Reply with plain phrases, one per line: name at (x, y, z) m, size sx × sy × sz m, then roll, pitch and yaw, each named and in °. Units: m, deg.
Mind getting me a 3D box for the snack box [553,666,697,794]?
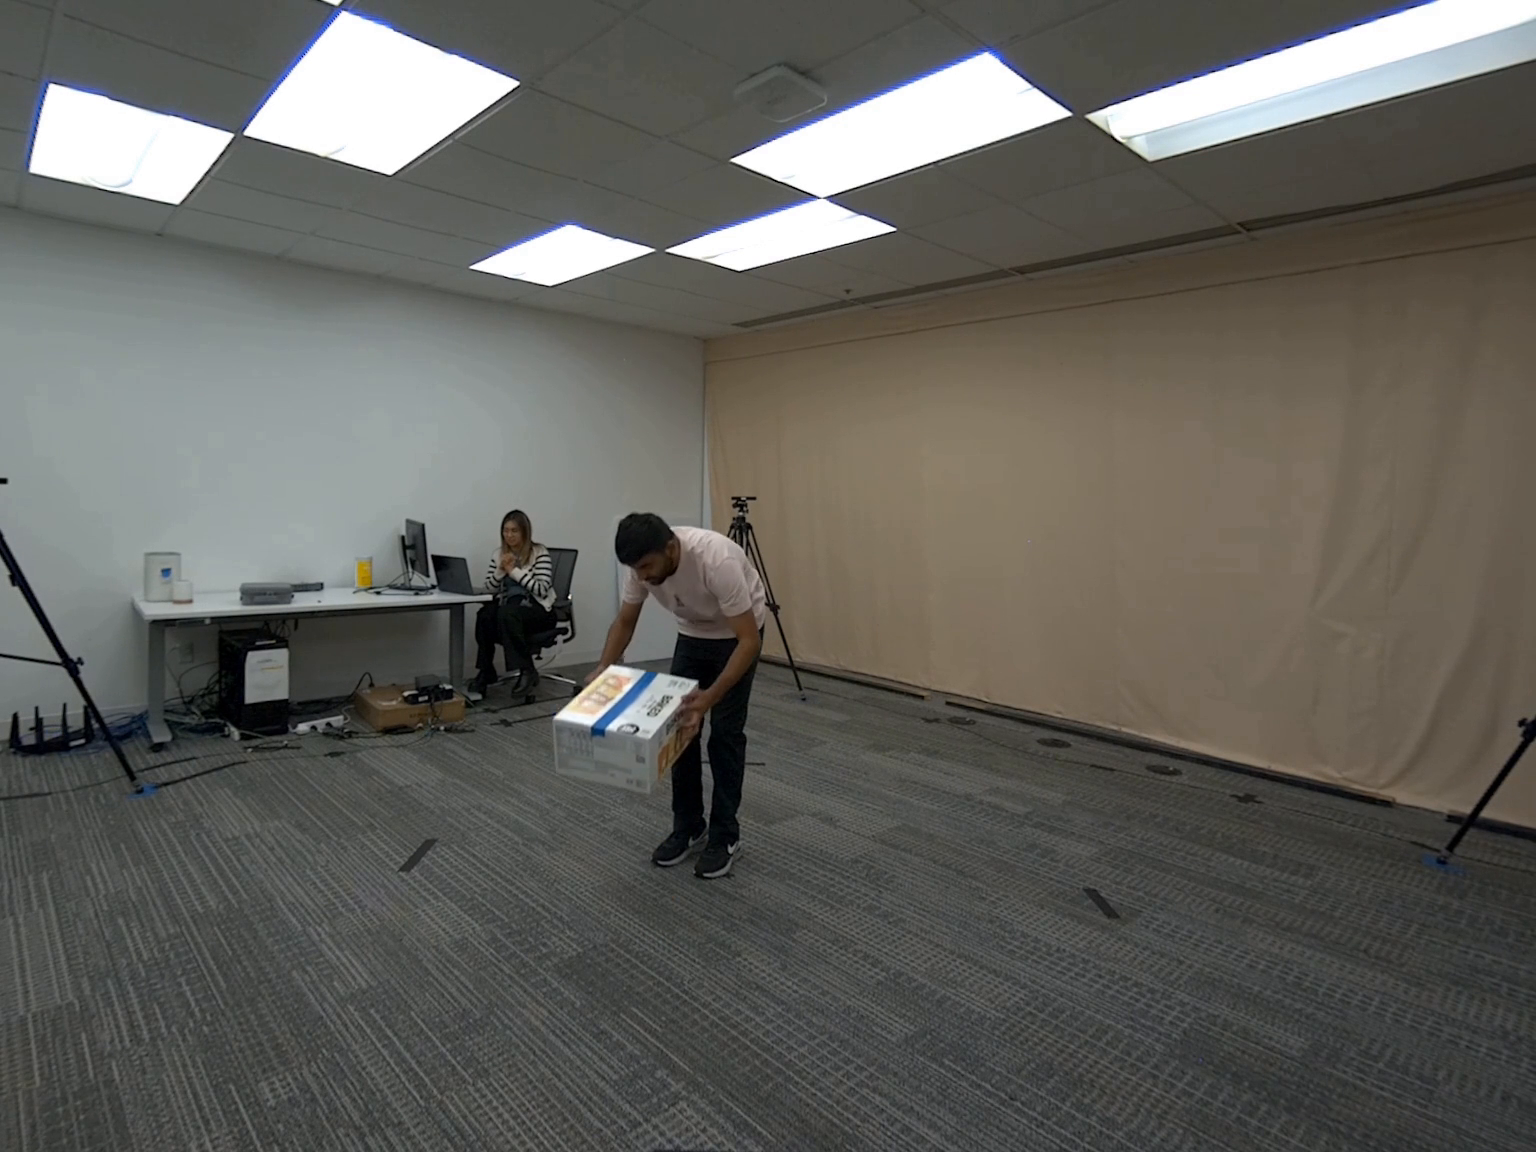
snack box at (-0.476, 0.509, 2.808) m, size 0.346 × 0.203 × 0.404 m, roll 6°, pitch 20°, yaw 18°
